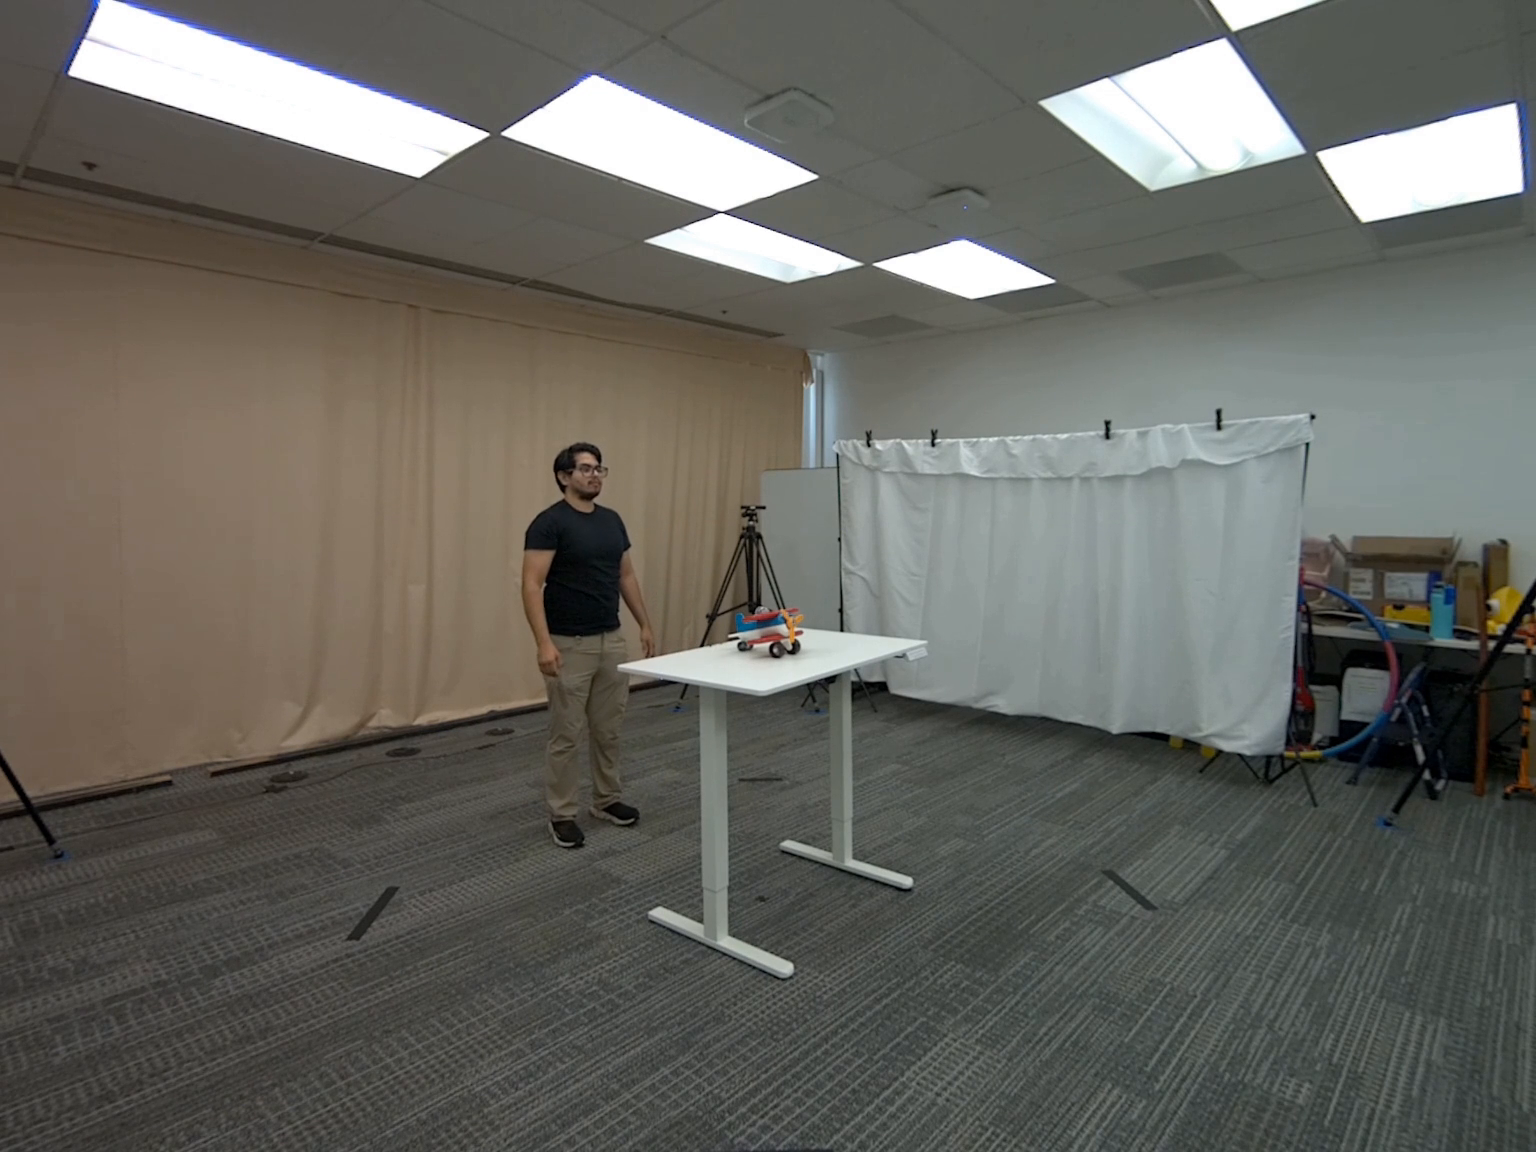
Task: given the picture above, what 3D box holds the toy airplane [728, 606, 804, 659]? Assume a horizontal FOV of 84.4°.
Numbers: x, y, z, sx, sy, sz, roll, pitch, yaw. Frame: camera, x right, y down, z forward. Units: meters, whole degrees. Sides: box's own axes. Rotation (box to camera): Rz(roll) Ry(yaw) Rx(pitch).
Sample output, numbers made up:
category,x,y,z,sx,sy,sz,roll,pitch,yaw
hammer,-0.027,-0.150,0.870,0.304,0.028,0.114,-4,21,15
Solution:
category,x,y,z,sx,sy,sz,roll,pitch,yaw
toy airplane,-0.013,0.192,2.885,0.263,0.156,0.248,1,4,13
